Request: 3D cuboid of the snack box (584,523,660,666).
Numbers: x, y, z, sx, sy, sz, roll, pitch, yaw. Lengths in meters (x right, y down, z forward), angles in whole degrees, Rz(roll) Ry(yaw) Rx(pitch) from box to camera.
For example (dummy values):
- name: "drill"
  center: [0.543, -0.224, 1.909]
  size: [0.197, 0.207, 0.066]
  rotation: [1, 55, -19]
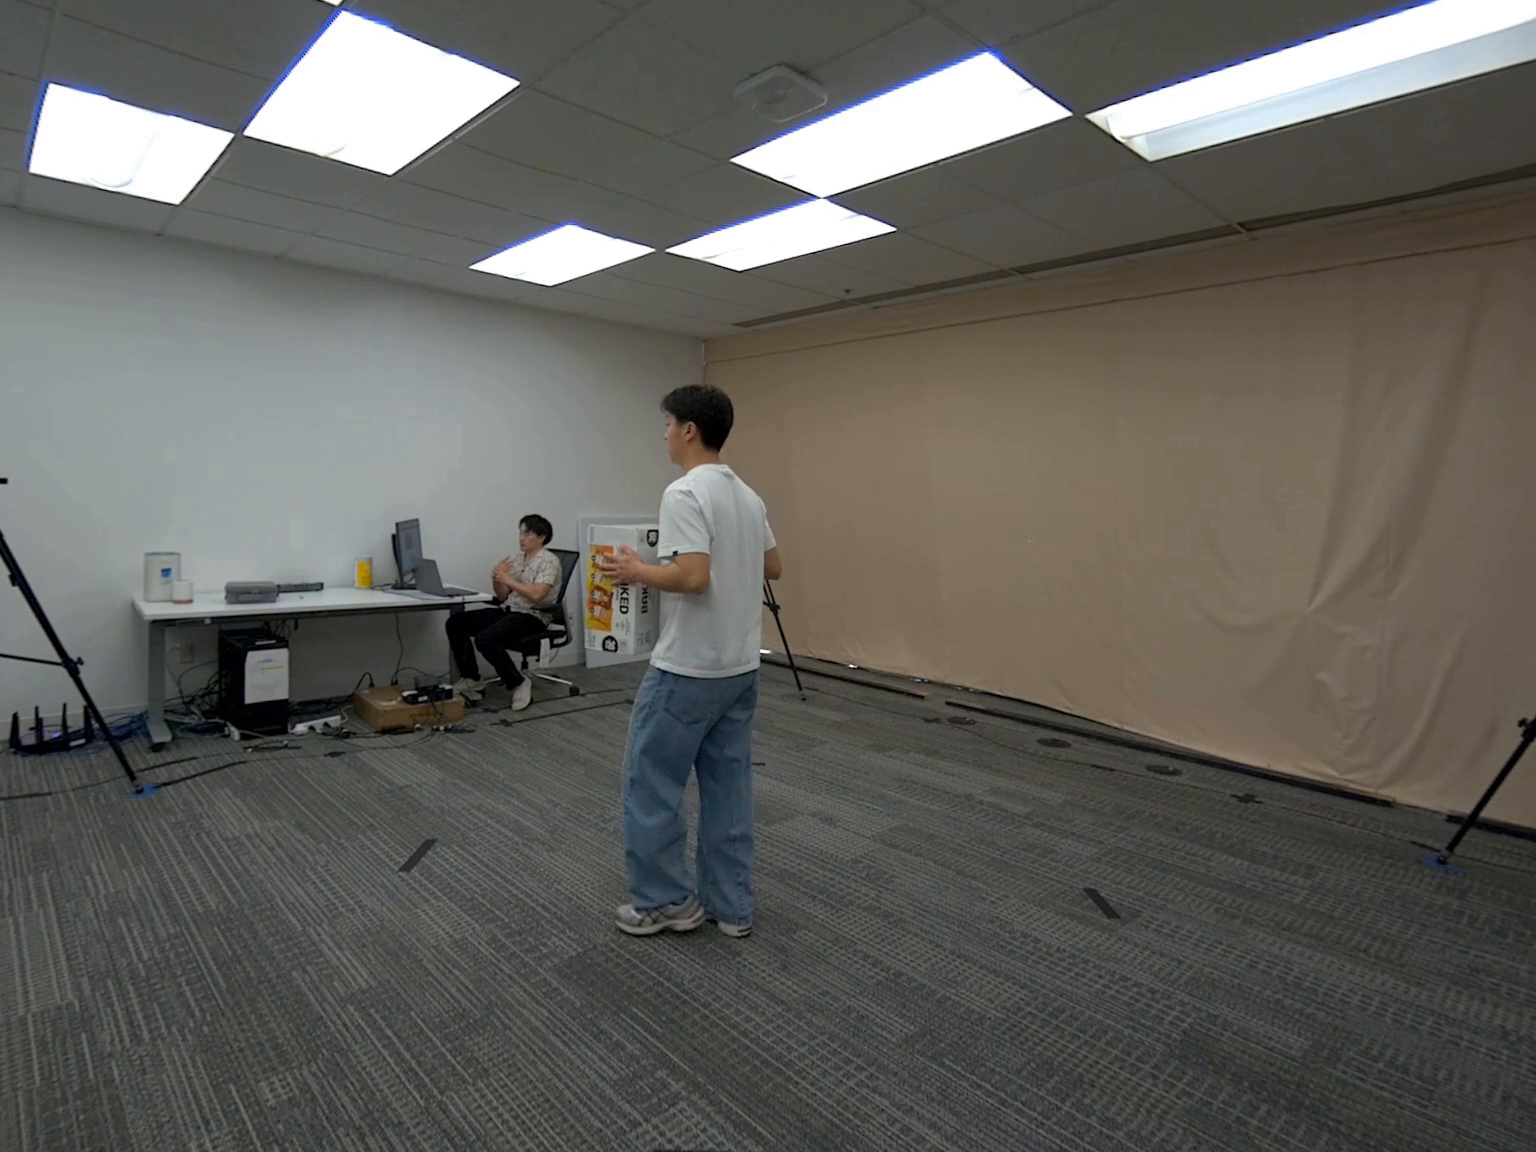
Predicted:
- name: "snack box"
  center: [-0.437, 0.035, 2.836]
  size: [0.210, 0.404, 0.334]
  rotation: [4, 5, 28]
